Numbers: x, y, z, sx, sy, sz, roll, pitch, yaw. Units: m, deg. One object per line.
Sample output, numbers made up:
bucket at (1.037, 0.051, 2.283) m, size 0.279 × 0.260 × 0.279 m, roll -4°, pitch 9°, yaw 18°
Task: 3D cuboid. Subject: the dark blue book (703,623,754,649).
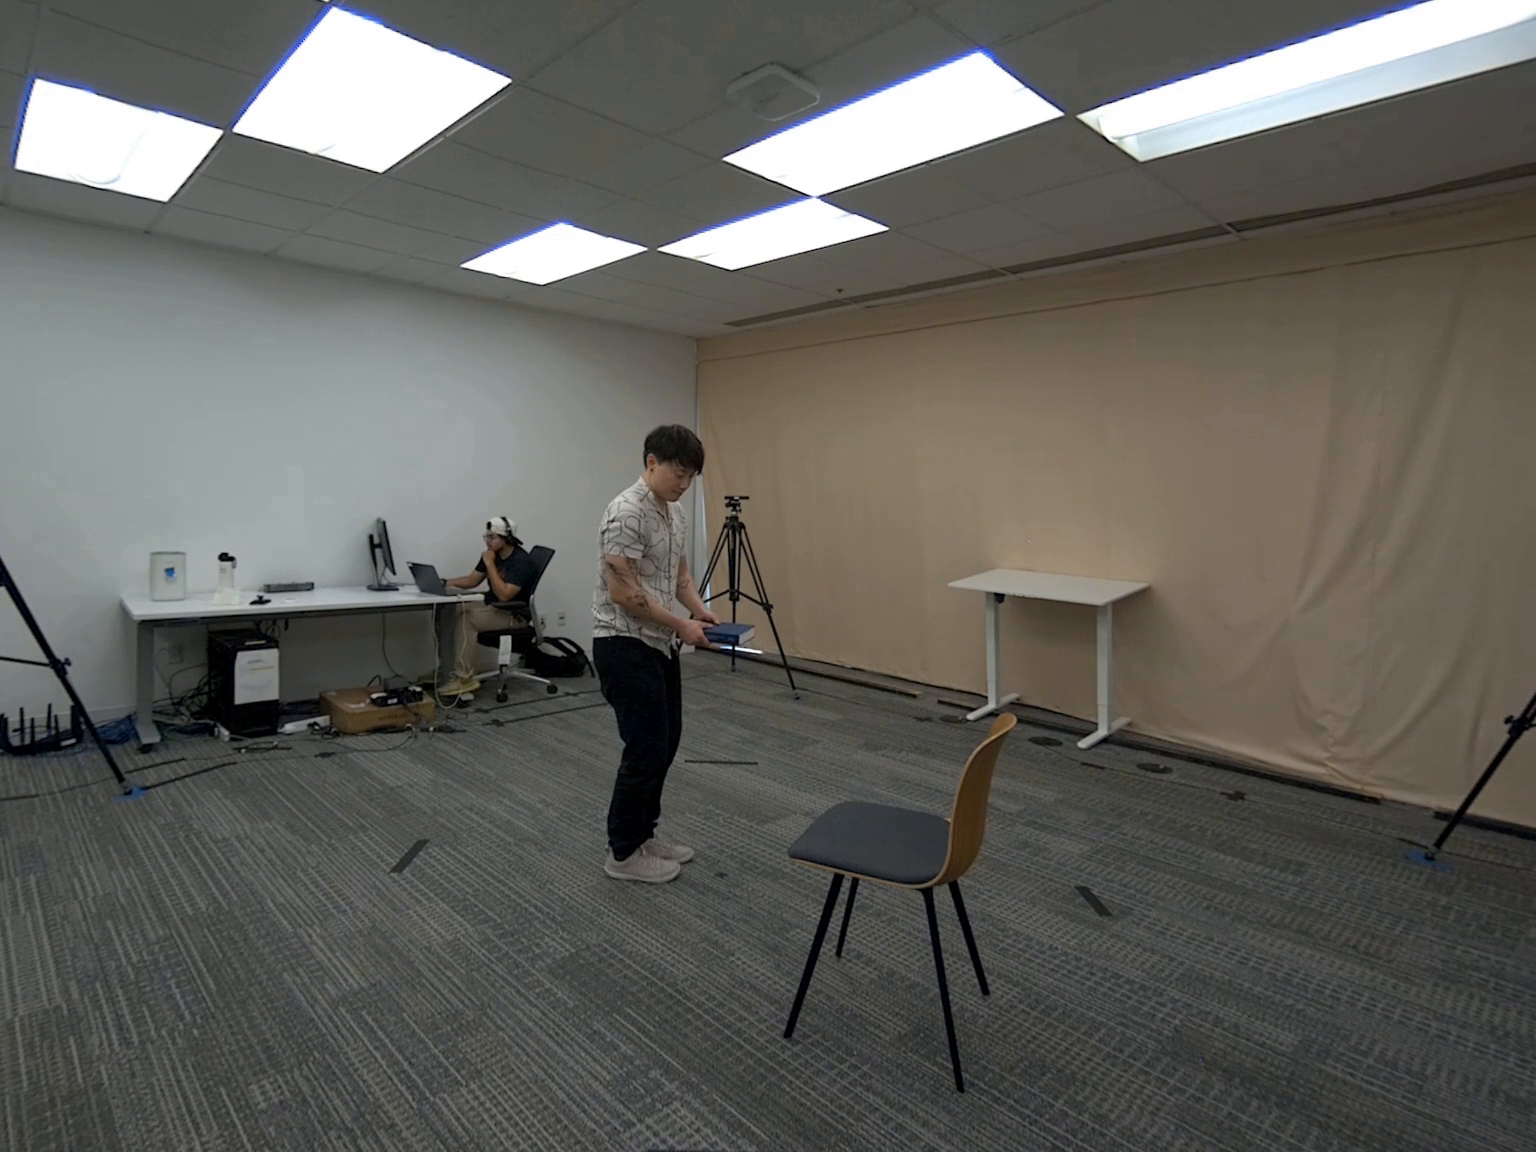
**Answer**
dark blue book at (-0.207, 0.209, 3.024) m, size 0.249 × 0.045 × 0.162 m, roll 1°, pitch 8°, yaw 20°
